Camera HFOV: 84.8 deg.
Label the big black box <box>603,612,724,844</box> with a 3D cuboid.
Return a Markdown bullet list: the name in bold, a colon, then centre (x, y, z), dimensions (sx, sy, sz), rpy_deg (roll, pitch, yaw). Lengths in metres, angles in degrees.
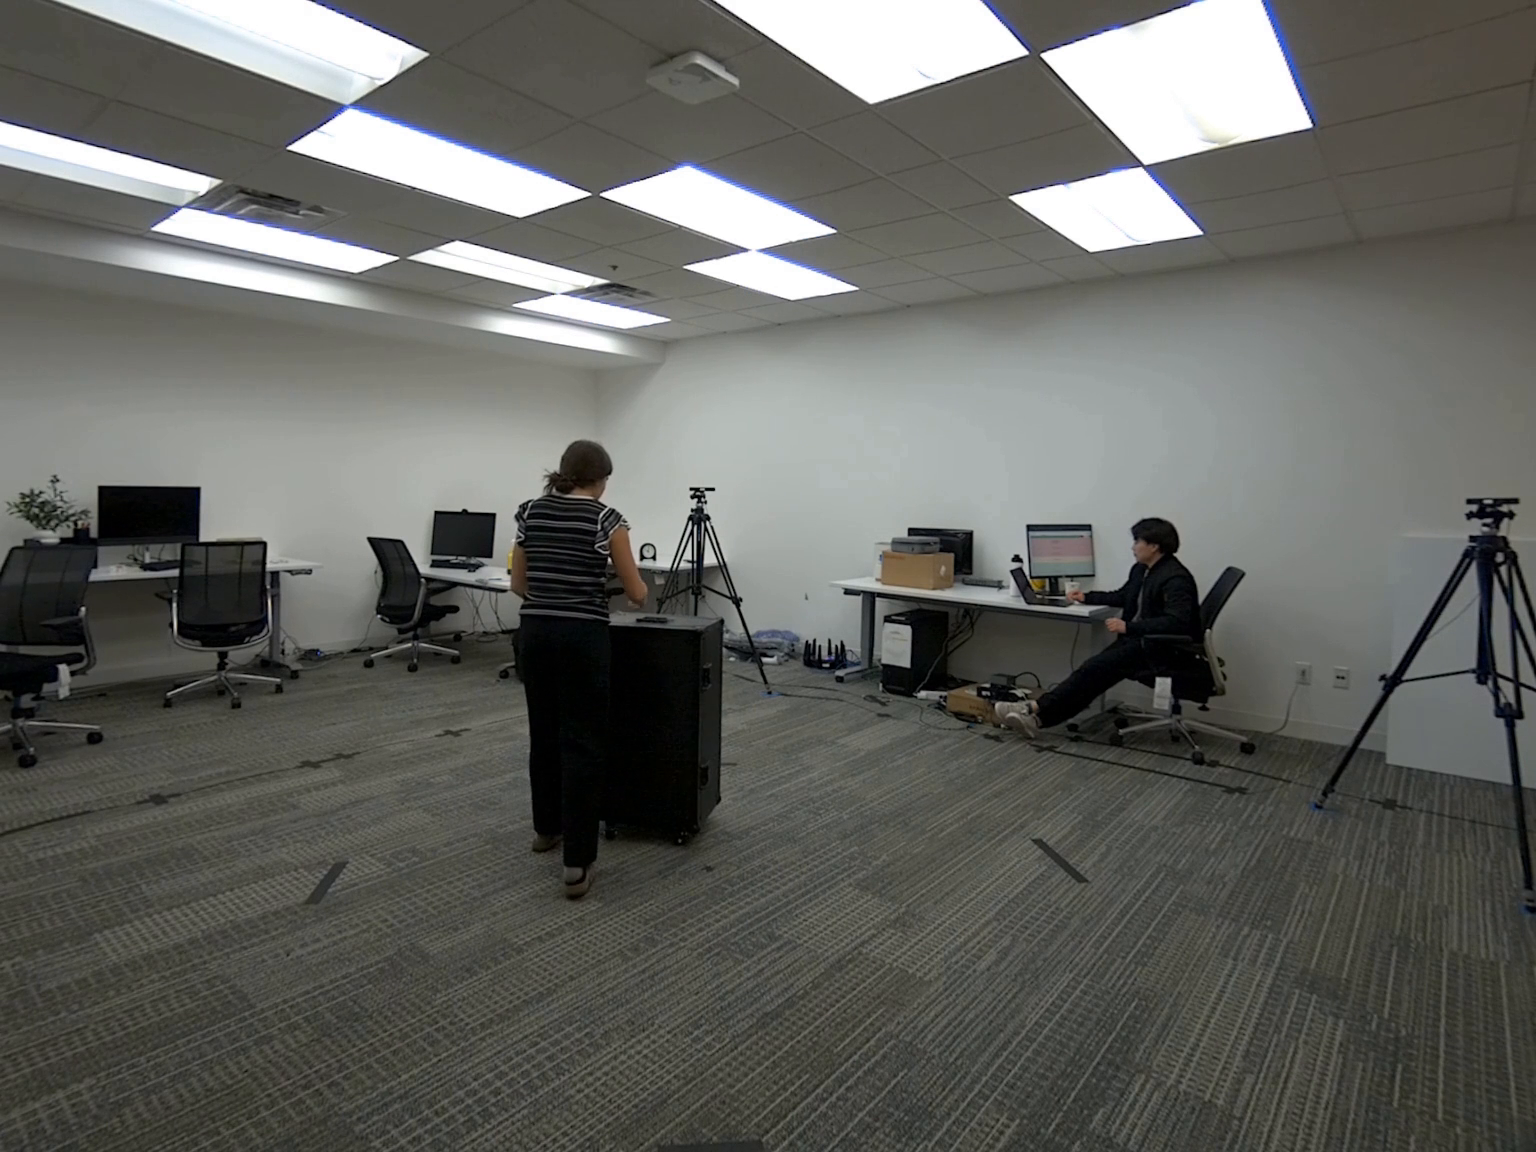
- **big black box**: centre (-0.474, 0.601, 3.479), dimensions (0.529, 0.860, 0.391), rpy_deg (2, 2, 13)
